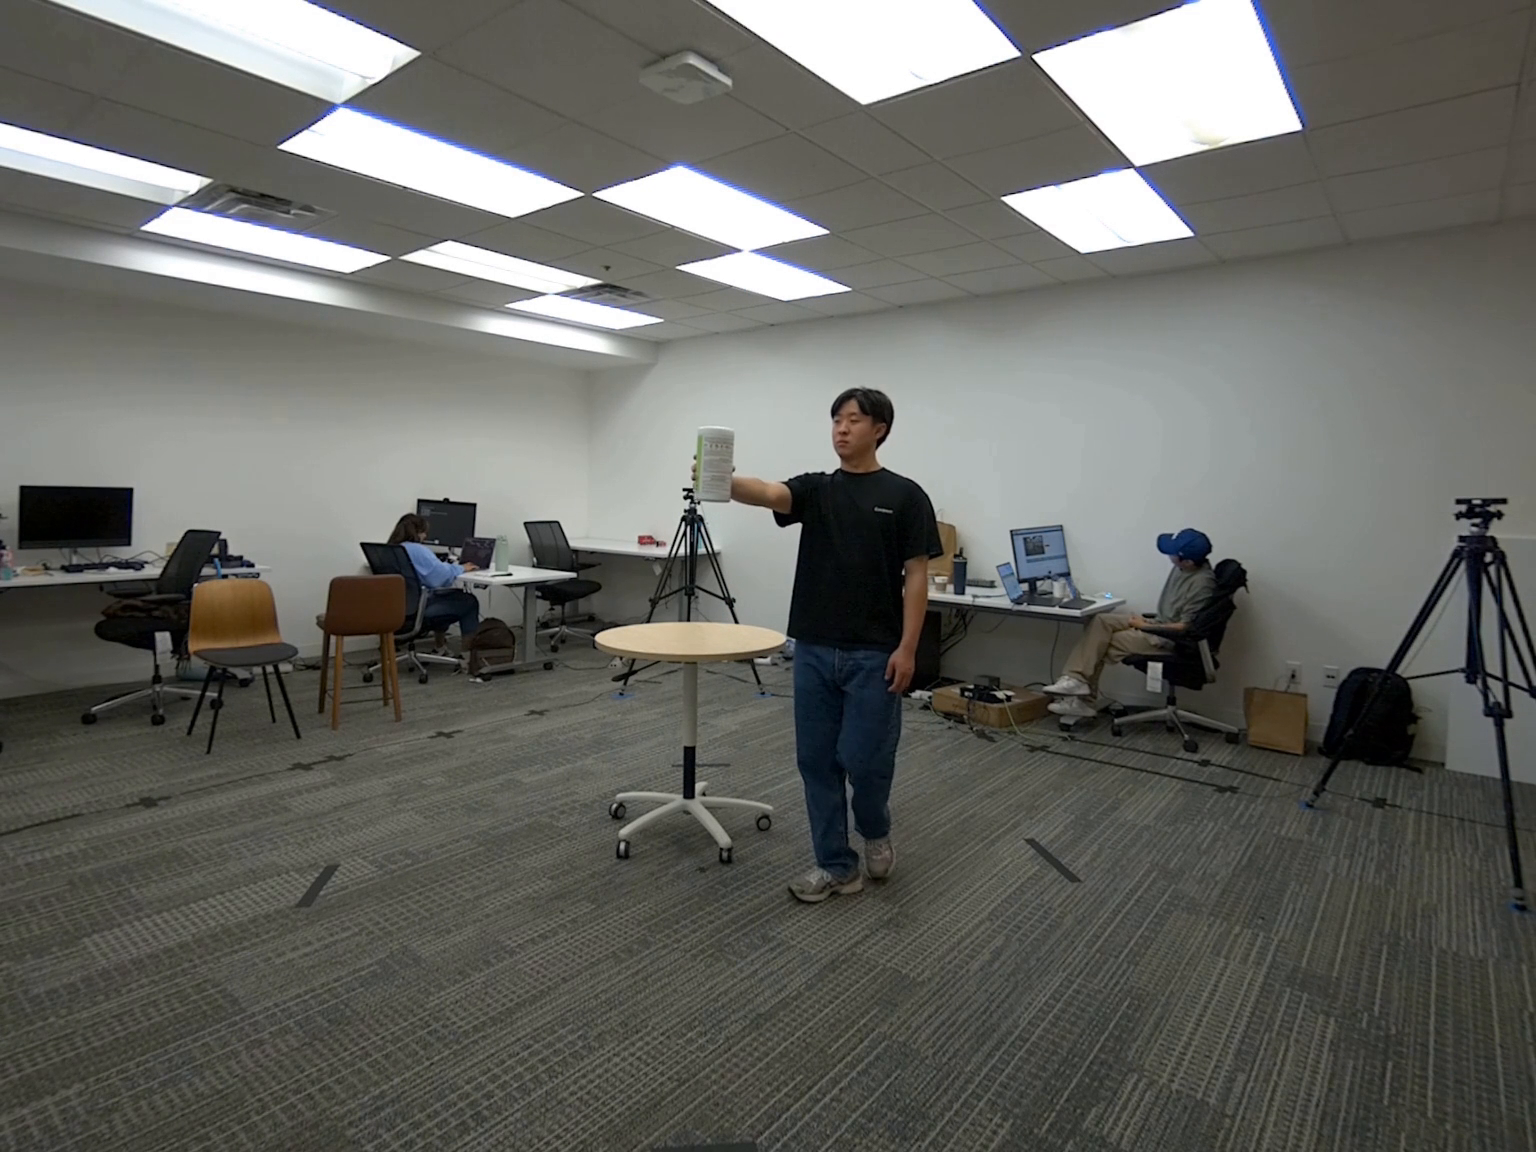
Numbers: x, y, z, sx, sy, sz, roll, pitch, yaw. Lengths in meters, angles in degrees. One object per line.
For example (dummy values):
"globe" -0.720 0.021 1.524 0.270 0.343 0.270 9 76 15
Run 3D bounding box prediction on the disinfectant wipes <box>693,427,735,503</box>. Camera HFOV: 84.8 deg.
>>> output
"disinfectant wipes" -0.167 -0.327 2.493 0.118 0.217 0.118 3 0 -2
